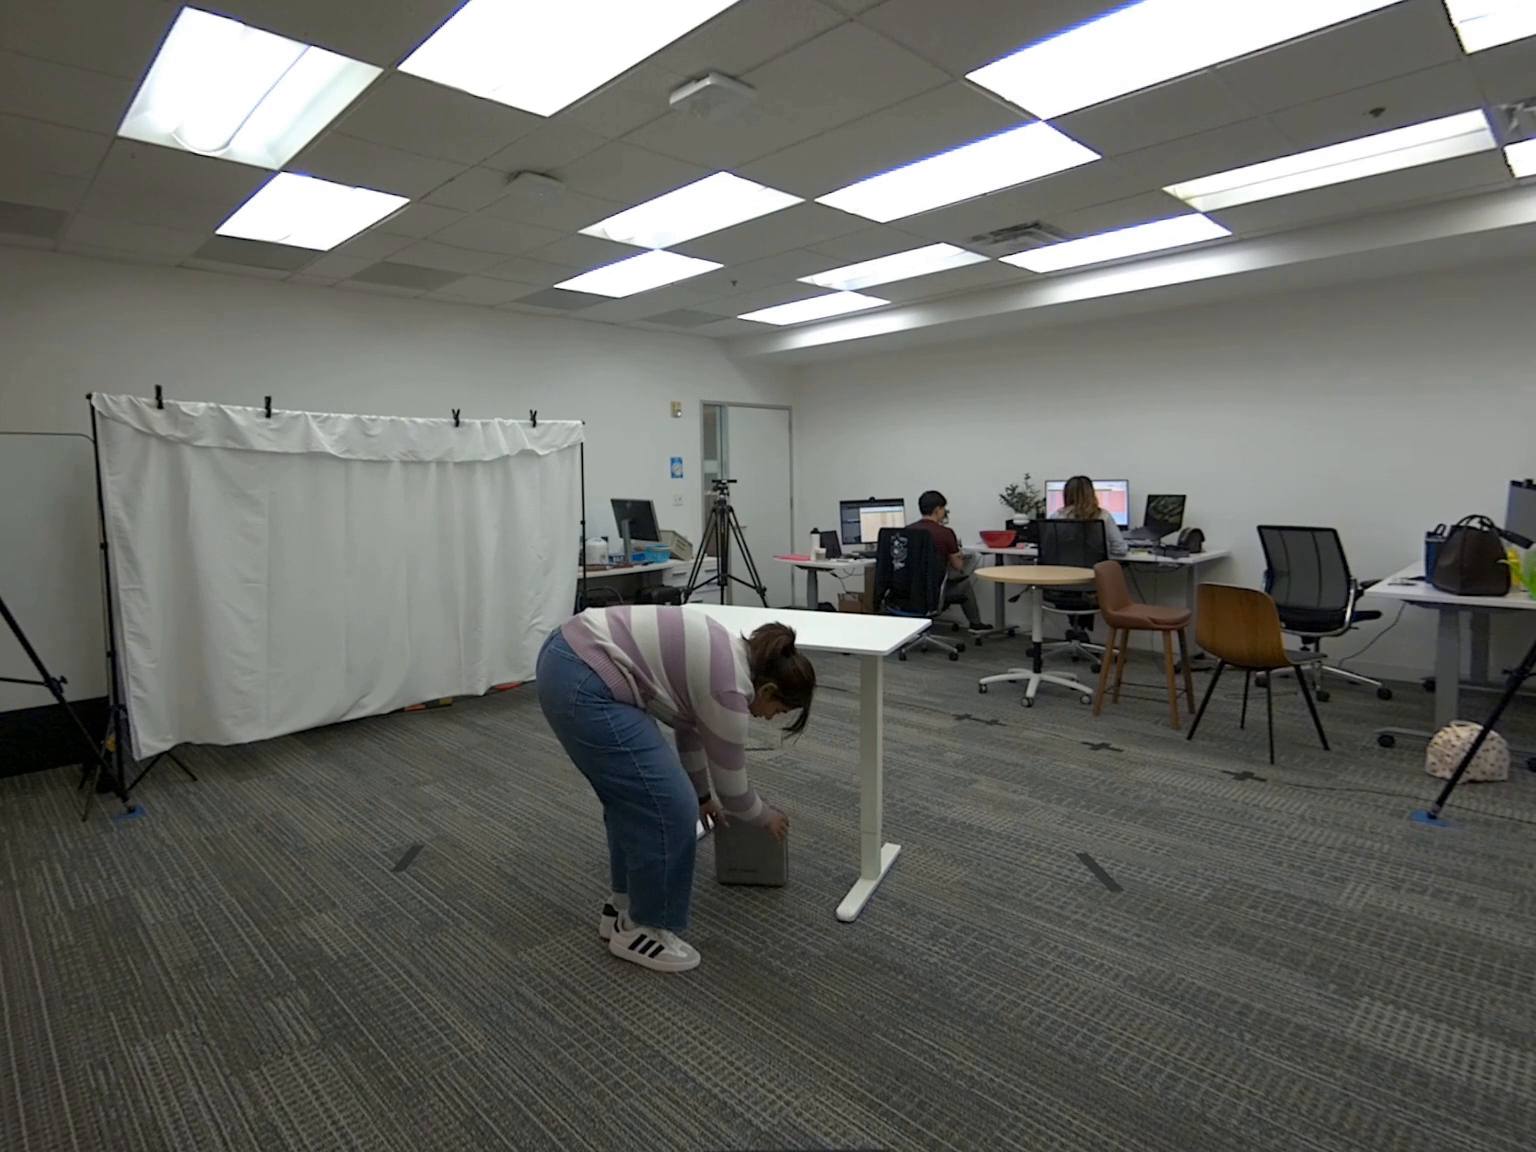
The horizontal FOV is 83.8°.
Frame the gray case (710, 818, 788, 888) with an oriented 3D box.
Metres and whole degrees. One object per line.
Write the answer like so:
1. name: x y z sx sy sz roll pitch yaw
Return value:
1. gray case: -0.058 0.928 2.974 0.260 0.260 0.103 -1 1 11
